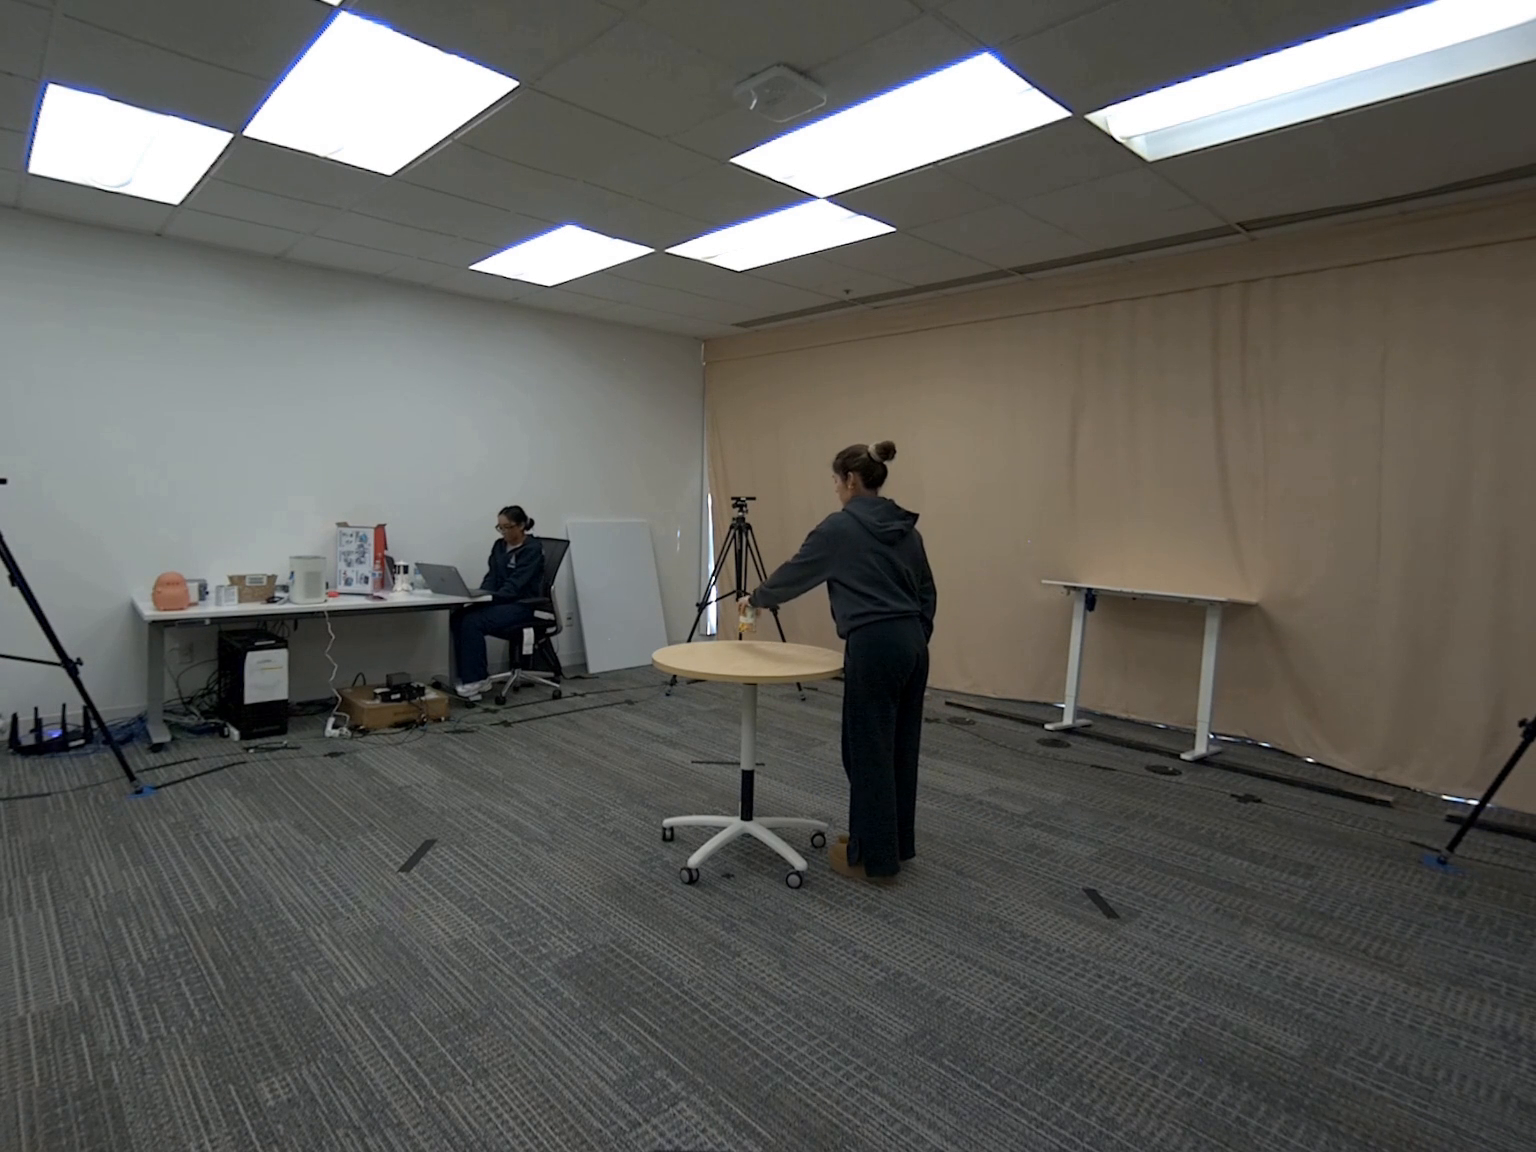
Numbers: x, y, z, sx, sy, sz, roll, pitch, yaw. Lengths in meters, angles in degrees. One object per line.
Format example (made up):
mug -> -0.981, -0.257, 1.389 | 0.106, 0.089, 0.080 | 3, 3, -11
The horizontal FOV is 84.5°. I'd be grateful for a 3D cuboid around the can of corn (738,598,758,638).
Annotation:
can of corn -> -0.088, 0.186, 3.531 | 0.074, 0.110, 0.074 | 3, 7, -2
